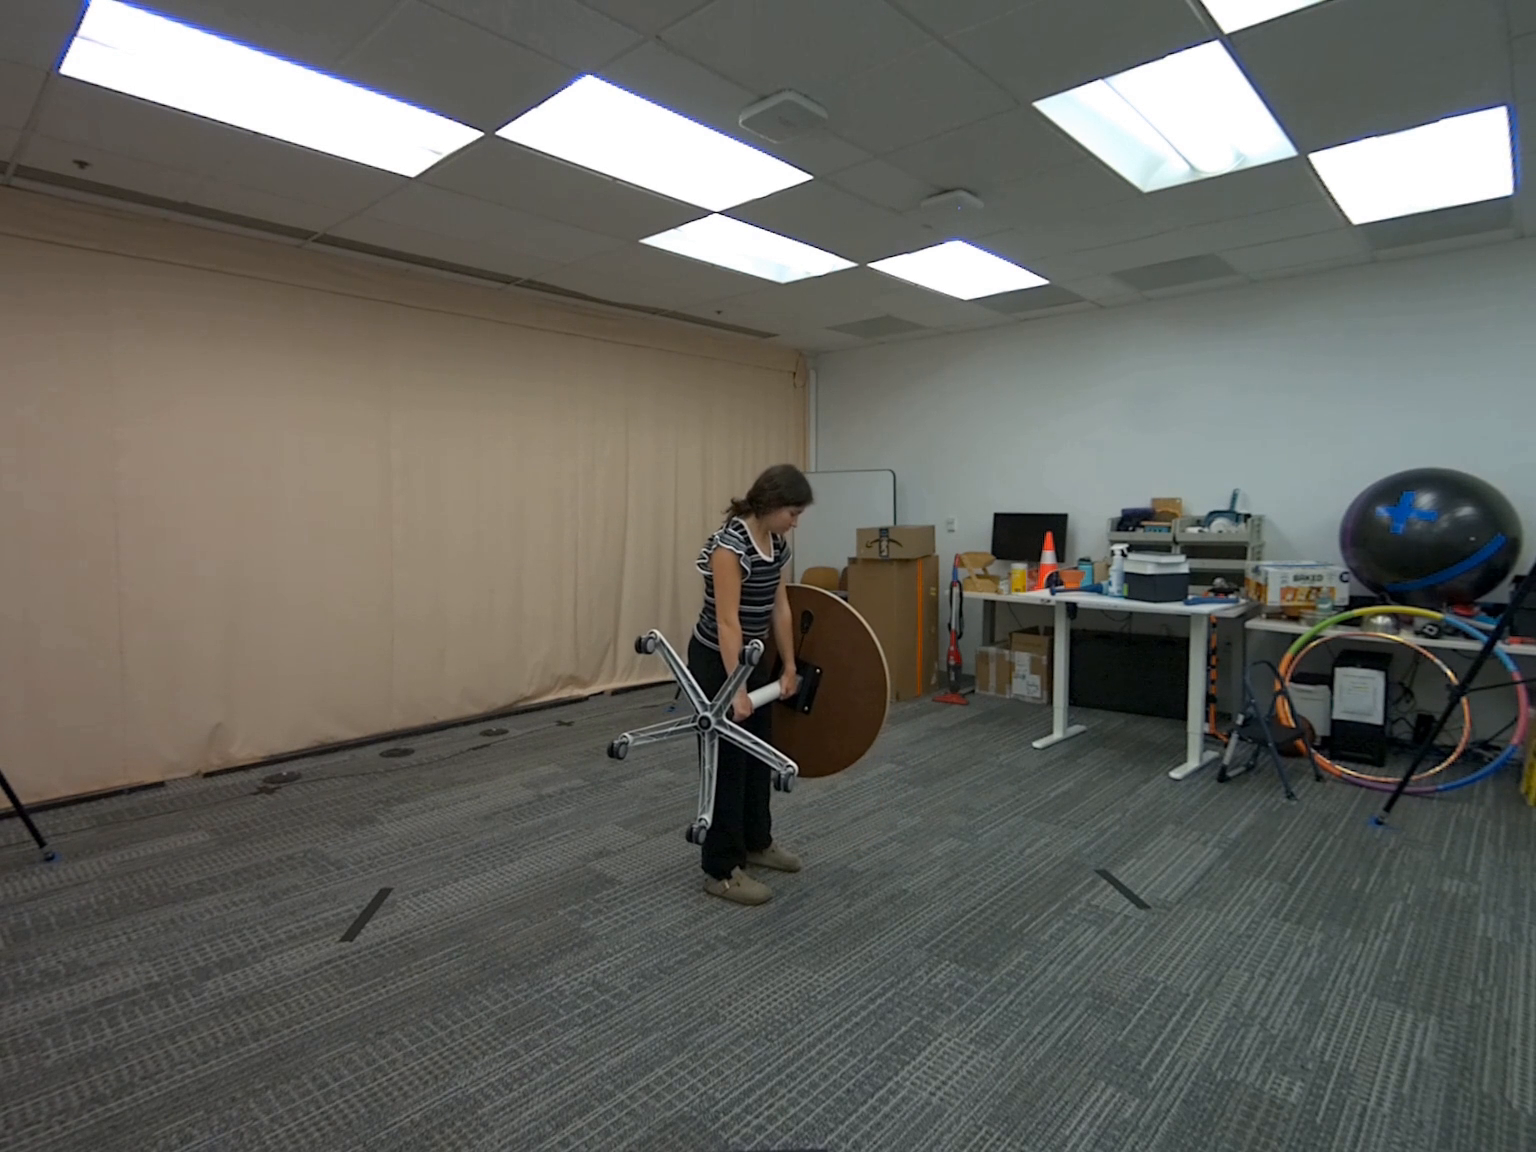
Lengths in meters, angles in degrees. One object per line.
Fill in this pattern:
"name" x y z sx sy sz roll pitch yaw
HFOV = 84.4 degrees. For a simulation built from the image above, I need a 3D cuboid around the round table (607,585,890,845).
"round table" -0.061 0.461 2.995 0.786 0.761 0.774 2 6 29
